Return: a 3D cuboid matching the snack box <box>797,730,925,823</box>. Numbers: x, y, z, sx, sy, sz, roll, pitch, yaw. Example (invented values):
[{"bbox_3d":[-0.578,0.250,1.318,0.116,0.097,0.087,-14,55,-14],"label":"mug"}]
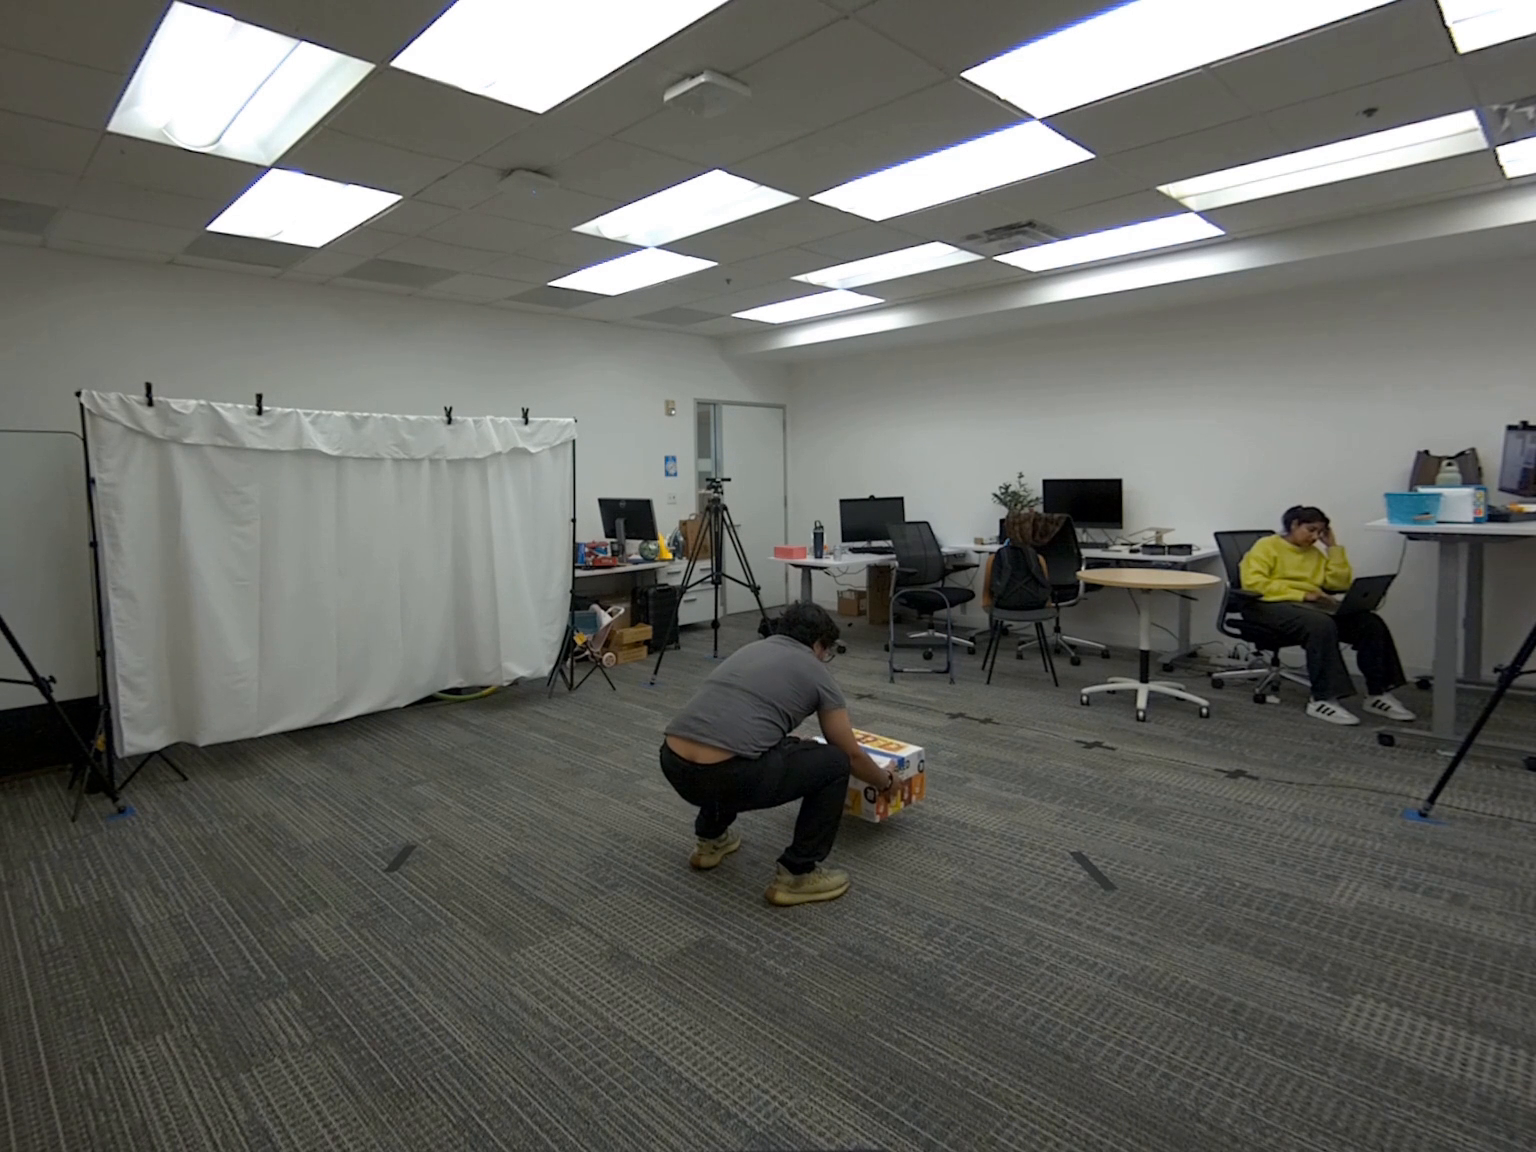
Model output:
[{"bbox_3d":[0.361,0.791,3.439,0.418,0.204,0.332,6,9,42],"label":"snack box"}]
